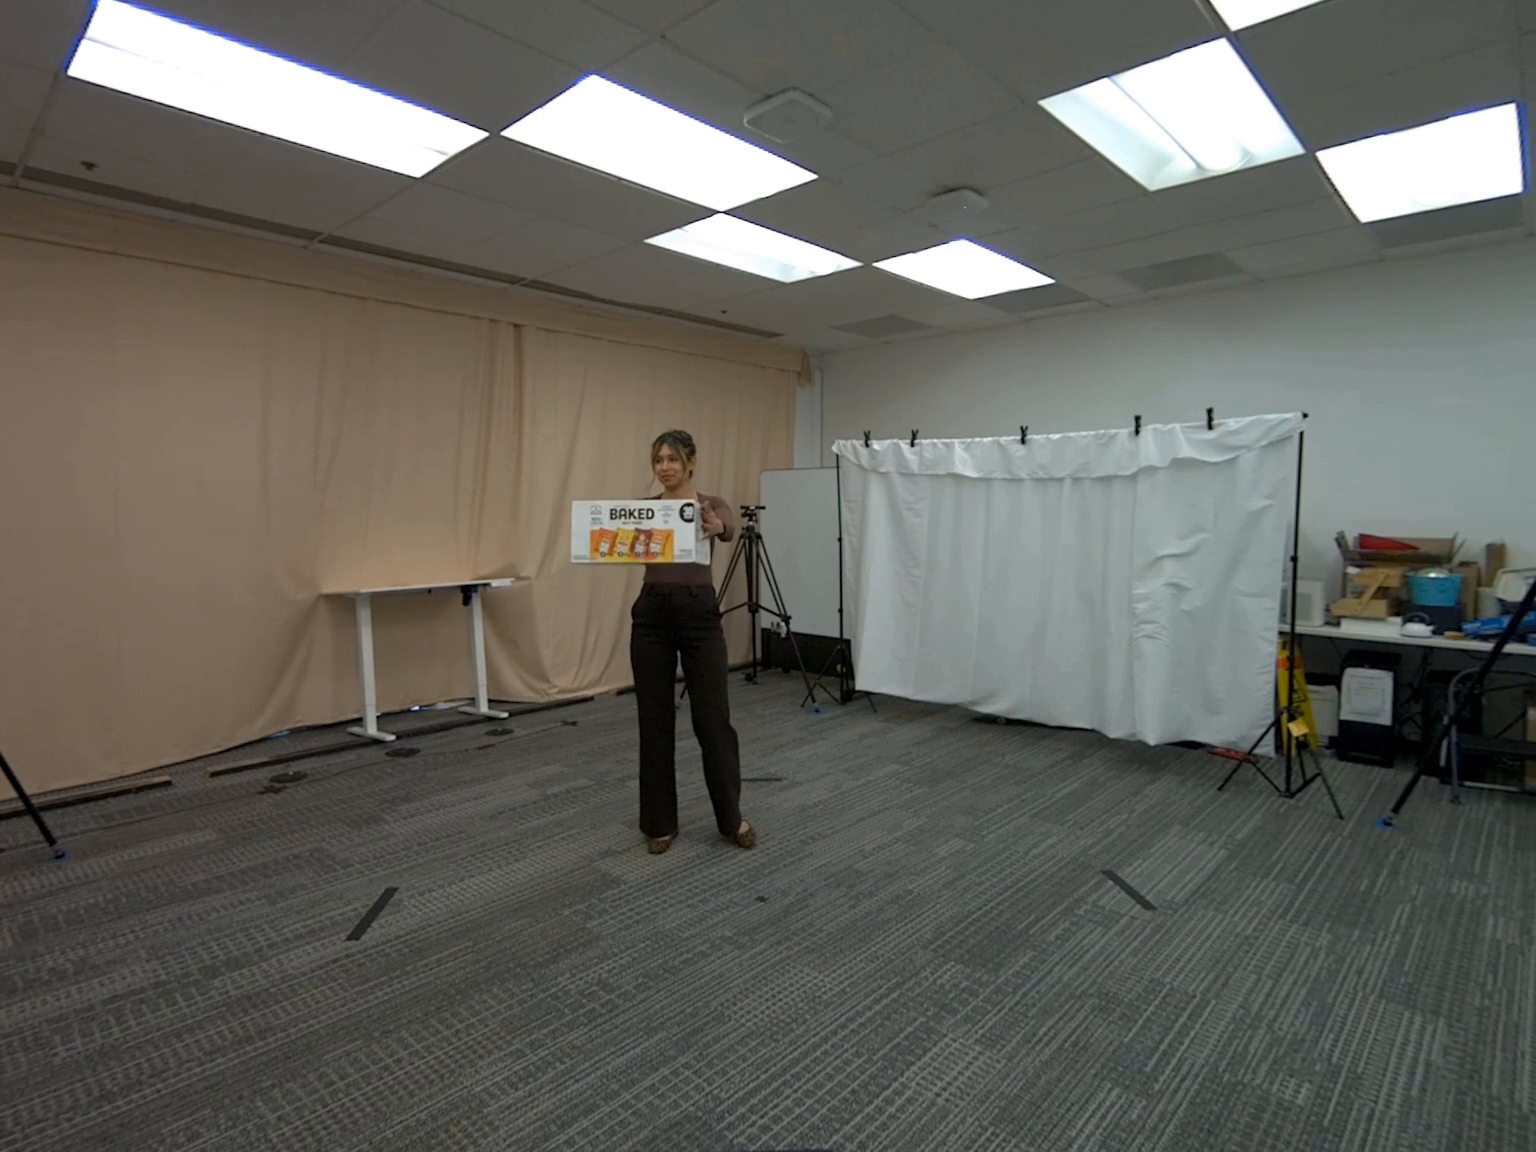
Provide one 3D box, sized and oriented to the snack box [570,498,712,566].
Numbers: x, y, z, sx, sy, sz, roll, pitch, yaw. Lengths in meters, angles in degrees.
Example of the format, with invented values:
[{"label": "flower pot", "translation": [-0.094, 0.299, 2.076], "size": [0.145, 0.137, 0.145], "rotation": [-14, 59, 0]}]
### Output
[{"label": "snack box", "translation": [-0.414, -0.140, 2.860], "size": [0.408, 0.206, 0.337], "rotation": [0, -1, 6]}]
